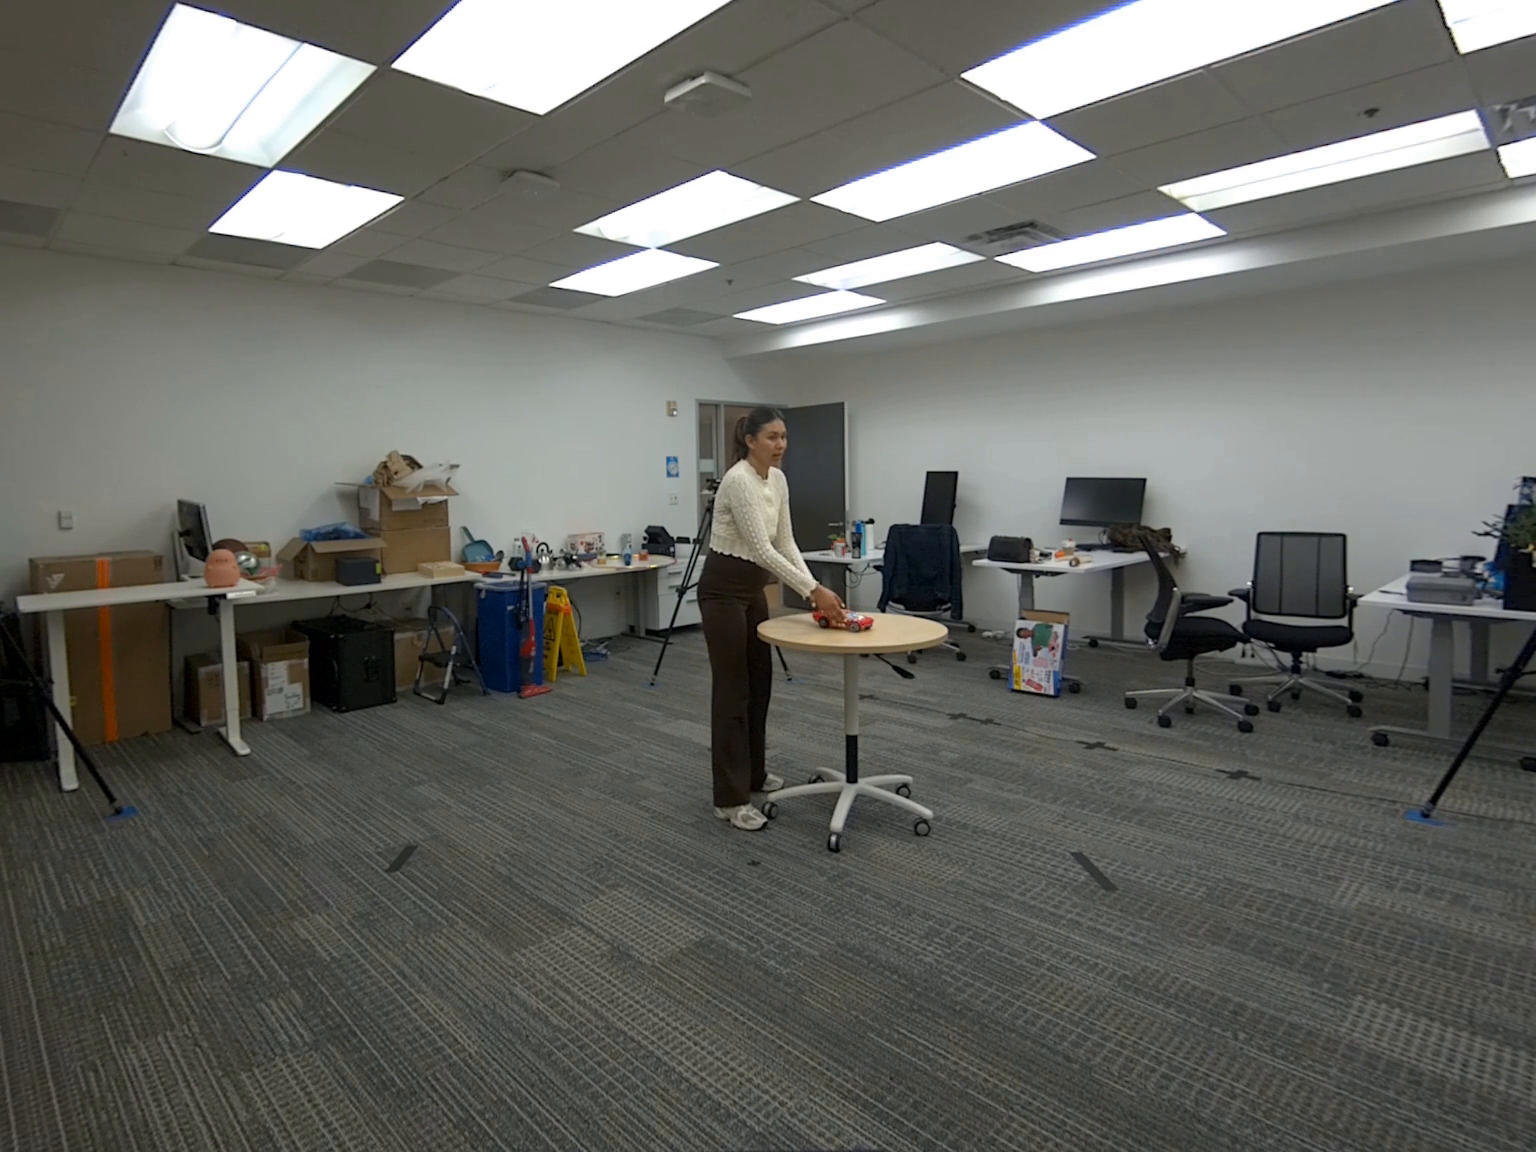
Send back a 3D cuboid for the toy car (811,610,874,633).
[{"bbox_3d":[0.307,0.181,3.482,0.263,0.082,0.127,17,15,37],"label":"toy car"}]
